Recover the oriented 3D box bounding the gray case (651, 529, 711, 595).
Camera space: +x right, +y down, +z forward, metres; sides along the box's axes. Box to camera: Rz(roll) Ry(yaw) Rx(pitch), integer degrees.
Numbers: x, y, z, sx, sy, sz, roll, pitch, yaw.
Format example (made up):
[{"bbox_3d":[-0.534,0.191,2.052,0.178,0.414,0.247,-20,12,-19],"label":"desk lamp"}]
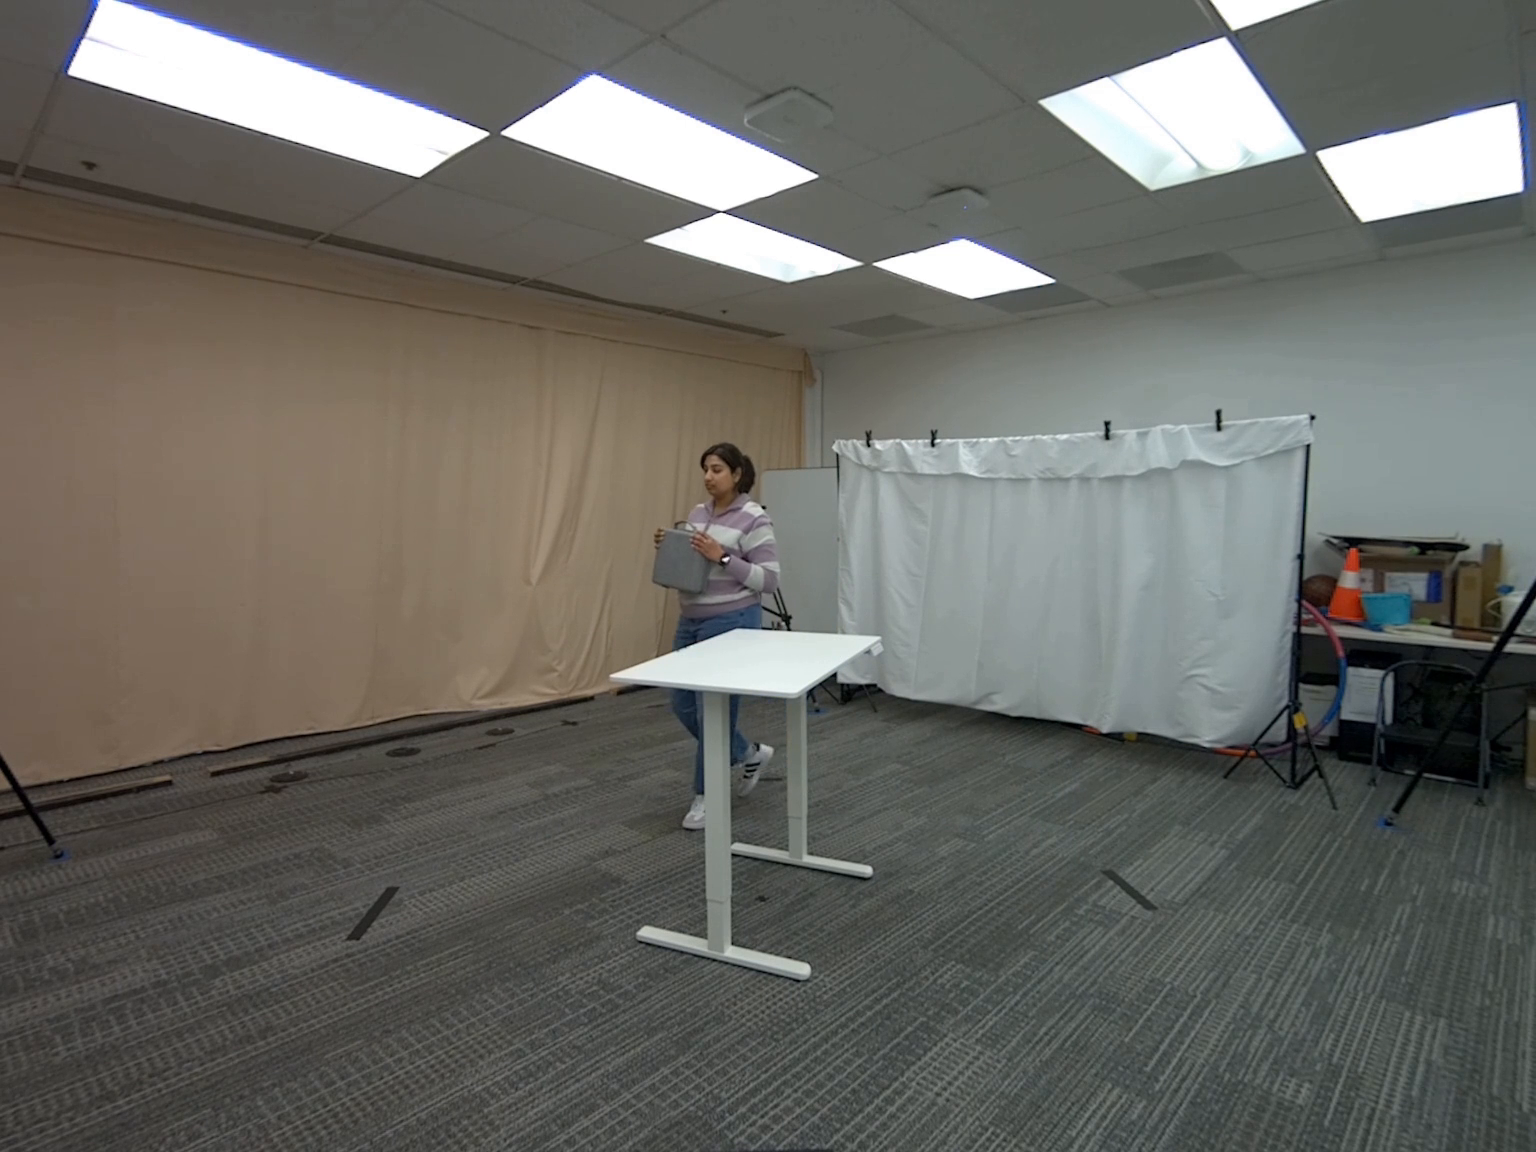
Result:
[{"bbox_3d":[-0.361,-0.065,3.608,0.265,0.260,0.101,10,2,29],"label":"gray case"}]
